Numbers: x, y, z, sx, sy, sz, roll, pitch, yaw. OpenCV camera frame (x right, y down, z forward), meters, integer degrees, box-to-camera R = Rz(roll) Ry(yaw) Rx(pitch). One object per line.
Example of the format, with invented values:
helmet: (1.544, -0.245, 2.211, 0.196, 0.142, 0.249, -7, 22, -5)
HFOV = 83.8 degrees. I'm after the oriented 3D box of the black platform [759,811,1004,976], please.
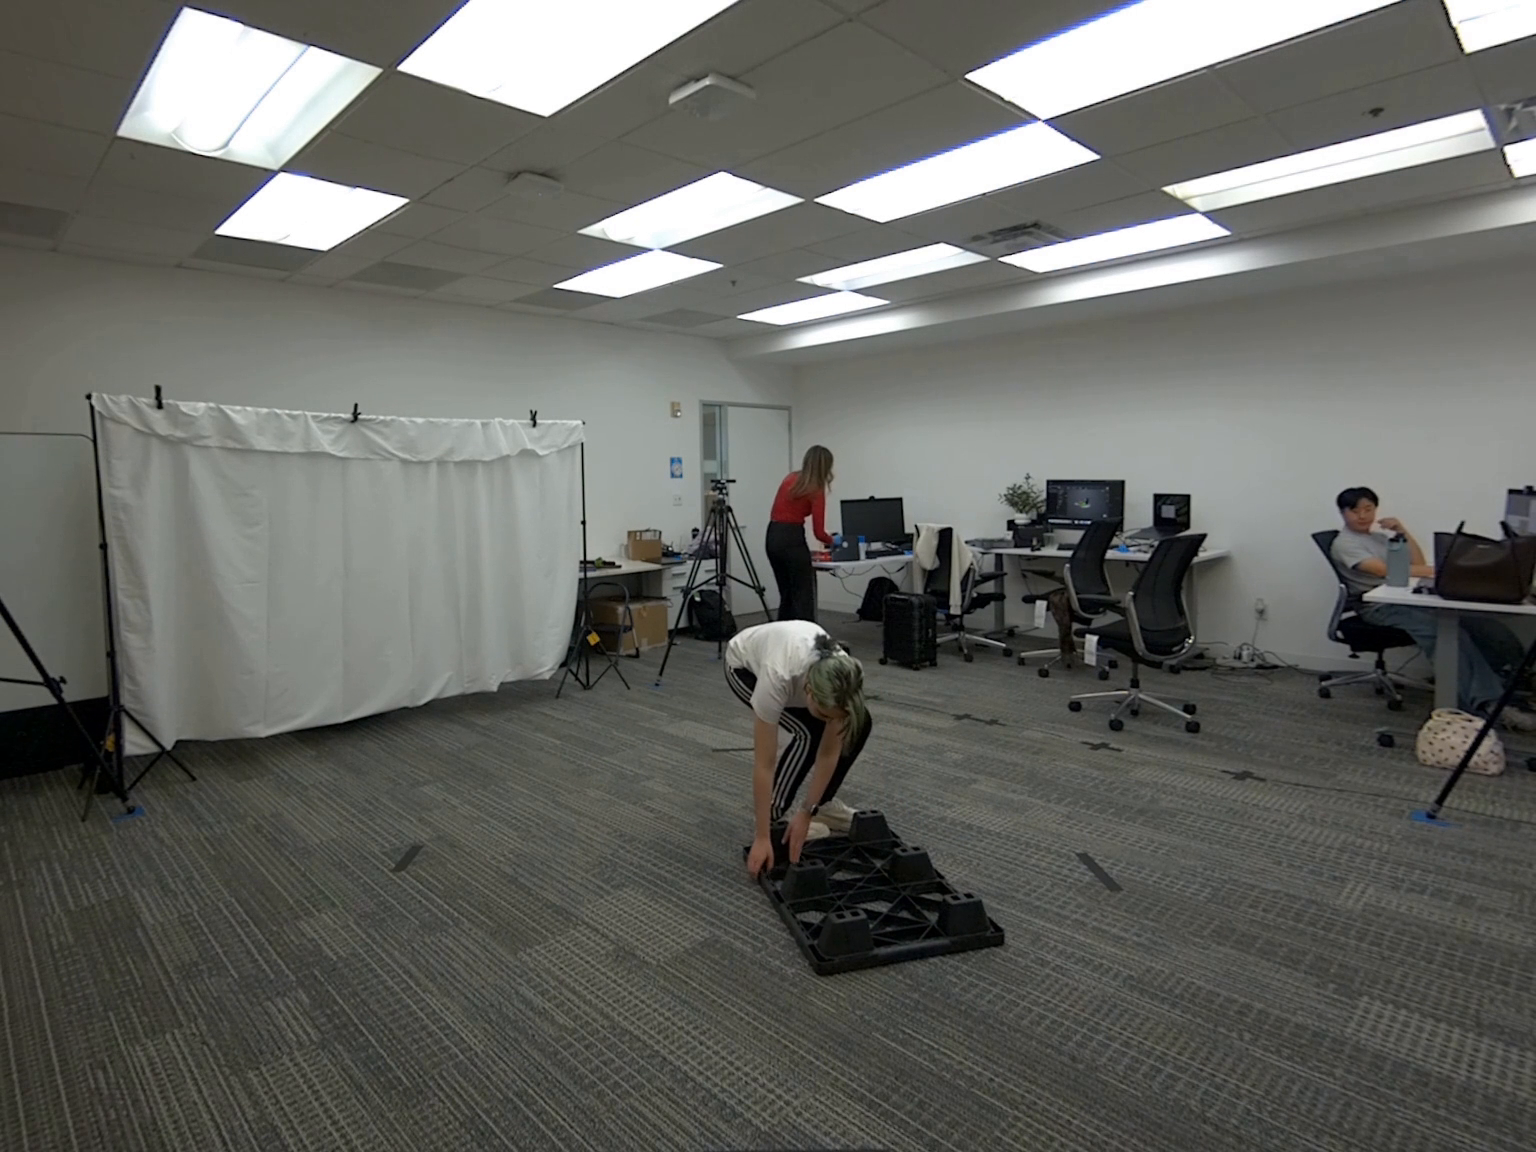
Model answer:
black platform: (0.310, 0.998, 2.850, 0.597, 0.142, 0.821, -4, 7, -16)
